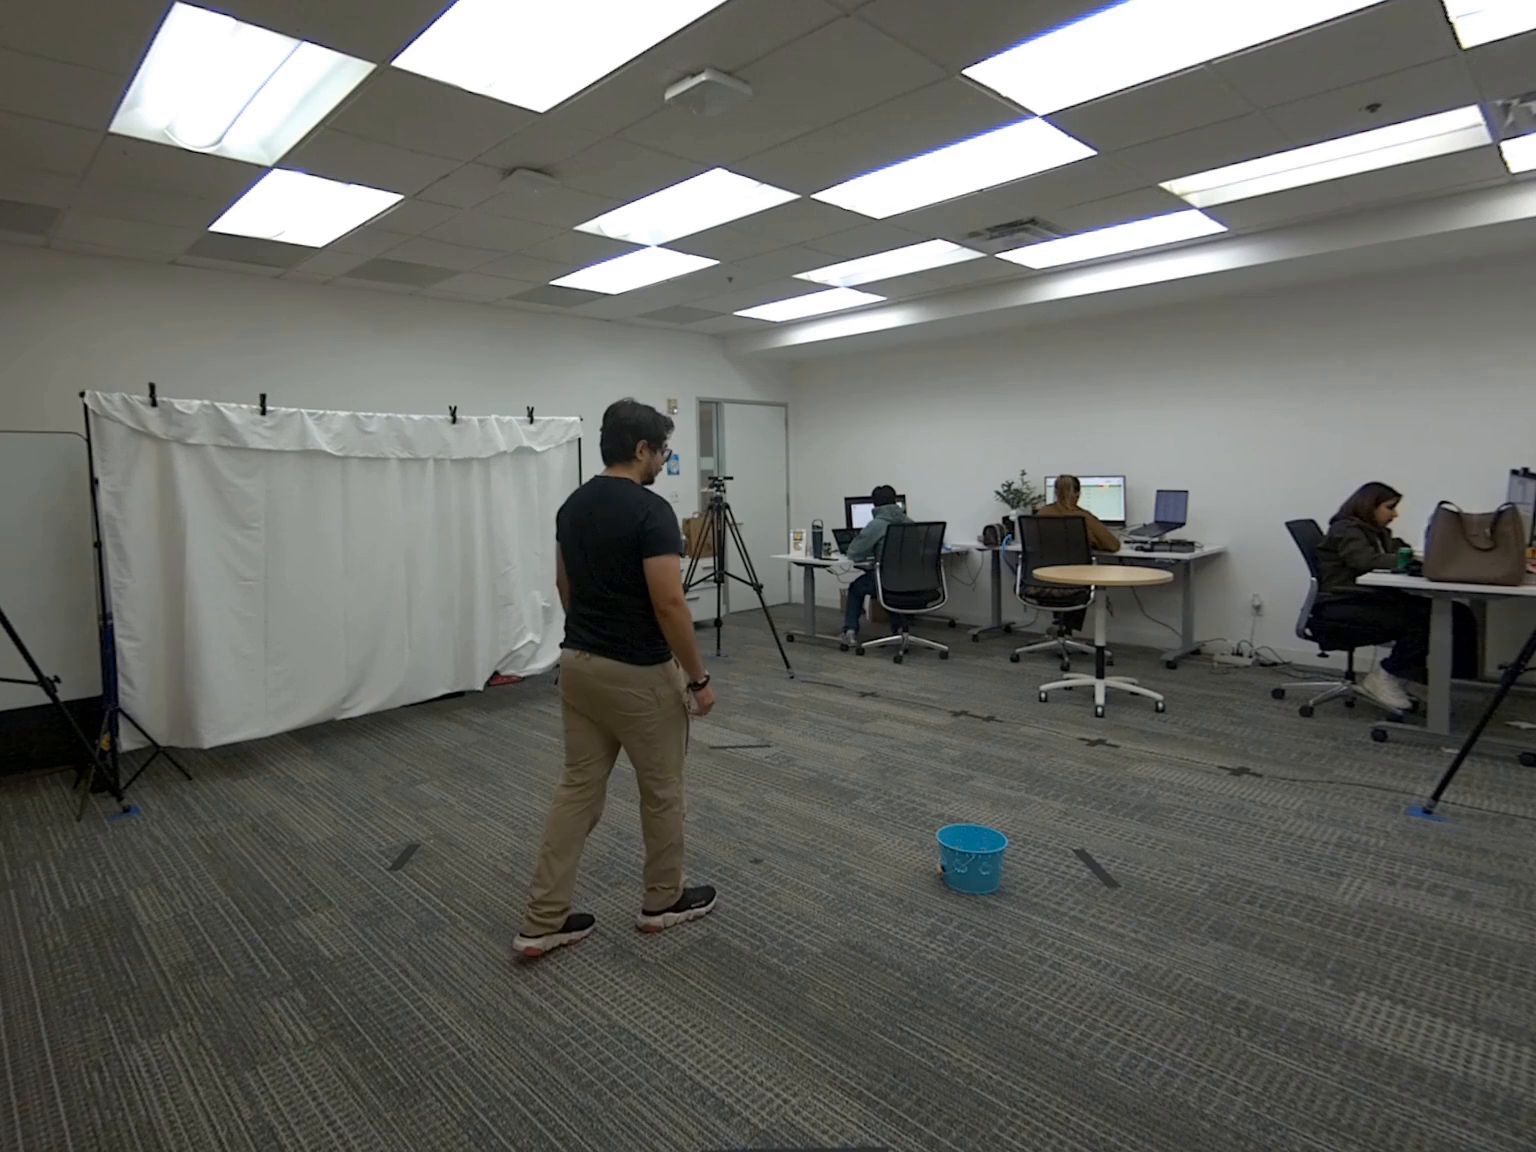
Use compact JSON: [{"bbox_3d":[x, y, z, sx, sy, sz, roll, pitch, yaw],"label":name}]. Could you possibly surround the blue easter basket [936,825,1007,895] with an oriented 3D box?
[{"bbox_3d":[0.697,0.967,2.921,0.243,0.155,0.245,-1,6,-2],"label":"blue easter basket"}]
